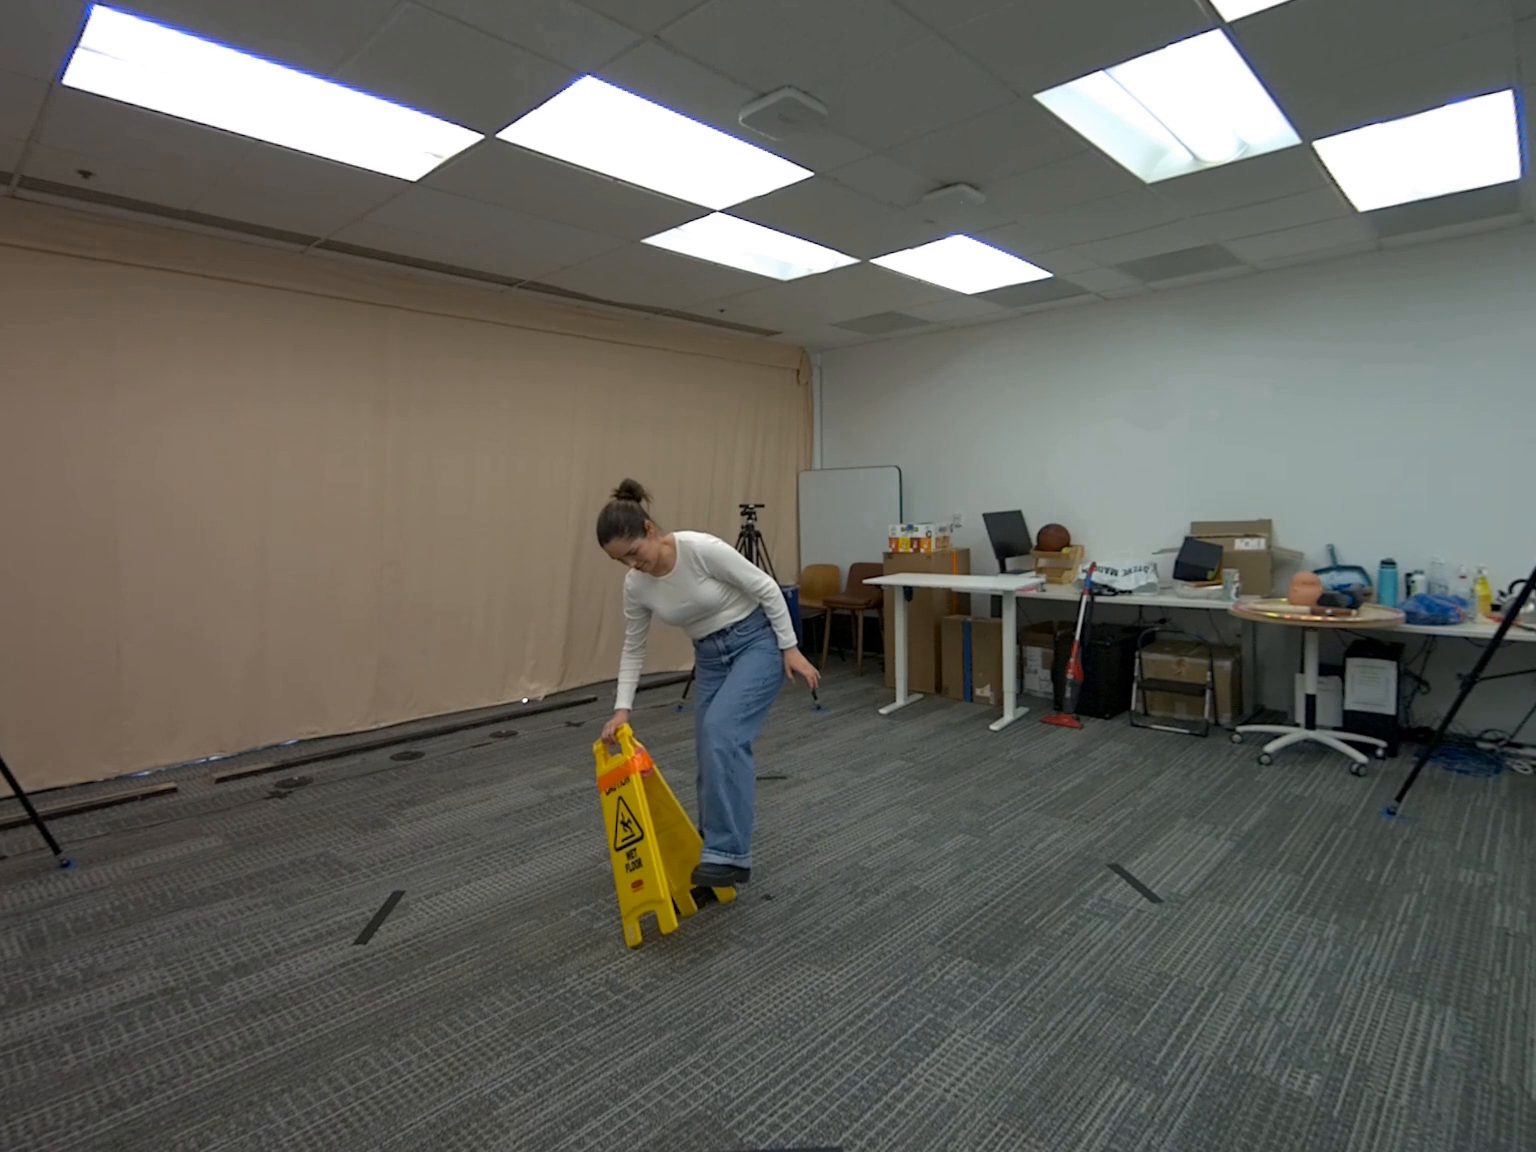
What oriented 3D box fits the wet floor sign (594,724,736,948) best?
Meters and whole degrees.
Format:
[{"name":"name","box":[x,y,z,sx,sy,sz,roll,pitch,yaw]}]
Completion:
[{"name":"wet floor sign","box":[-0.405,0.824,2.777,0.281,0.657,0.286,-4,-26,-49]}]
